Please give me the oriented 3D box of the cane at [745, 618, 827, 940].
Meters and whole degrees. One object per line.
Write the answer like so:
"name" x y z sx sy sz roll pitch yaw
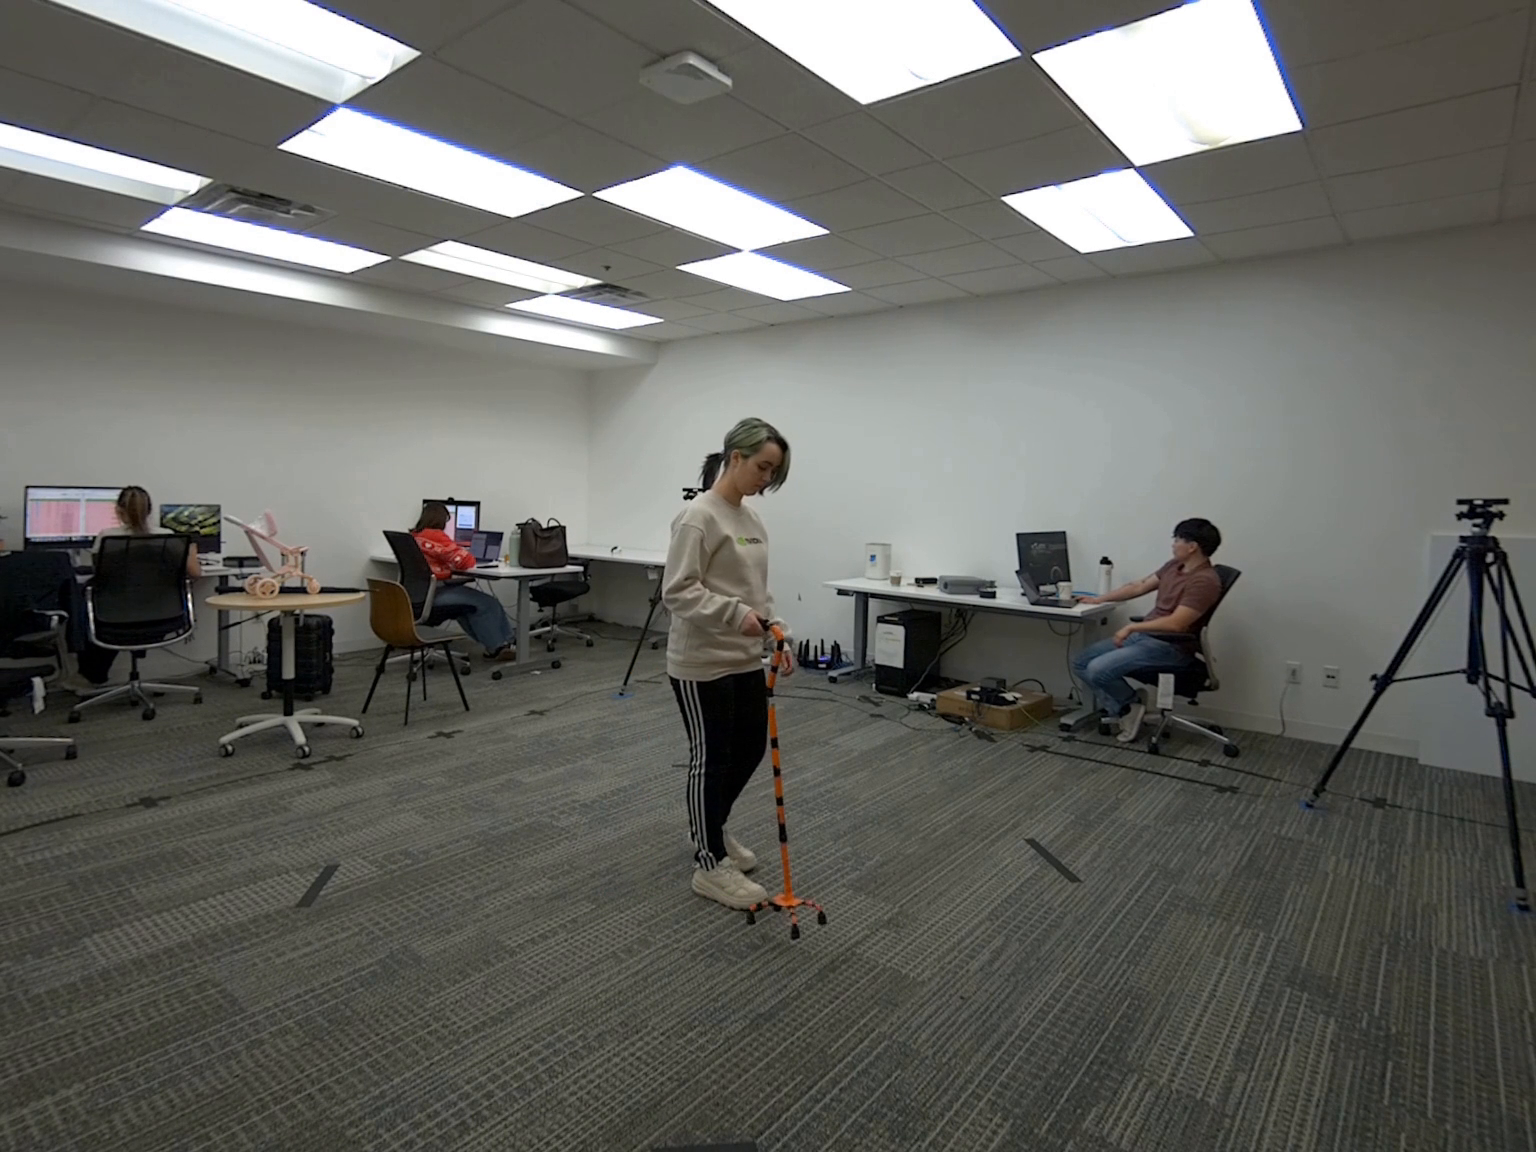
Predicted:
"cane" 0.003 0.594 2.588 0.147 0.910 0.212 -3 -3 -44
